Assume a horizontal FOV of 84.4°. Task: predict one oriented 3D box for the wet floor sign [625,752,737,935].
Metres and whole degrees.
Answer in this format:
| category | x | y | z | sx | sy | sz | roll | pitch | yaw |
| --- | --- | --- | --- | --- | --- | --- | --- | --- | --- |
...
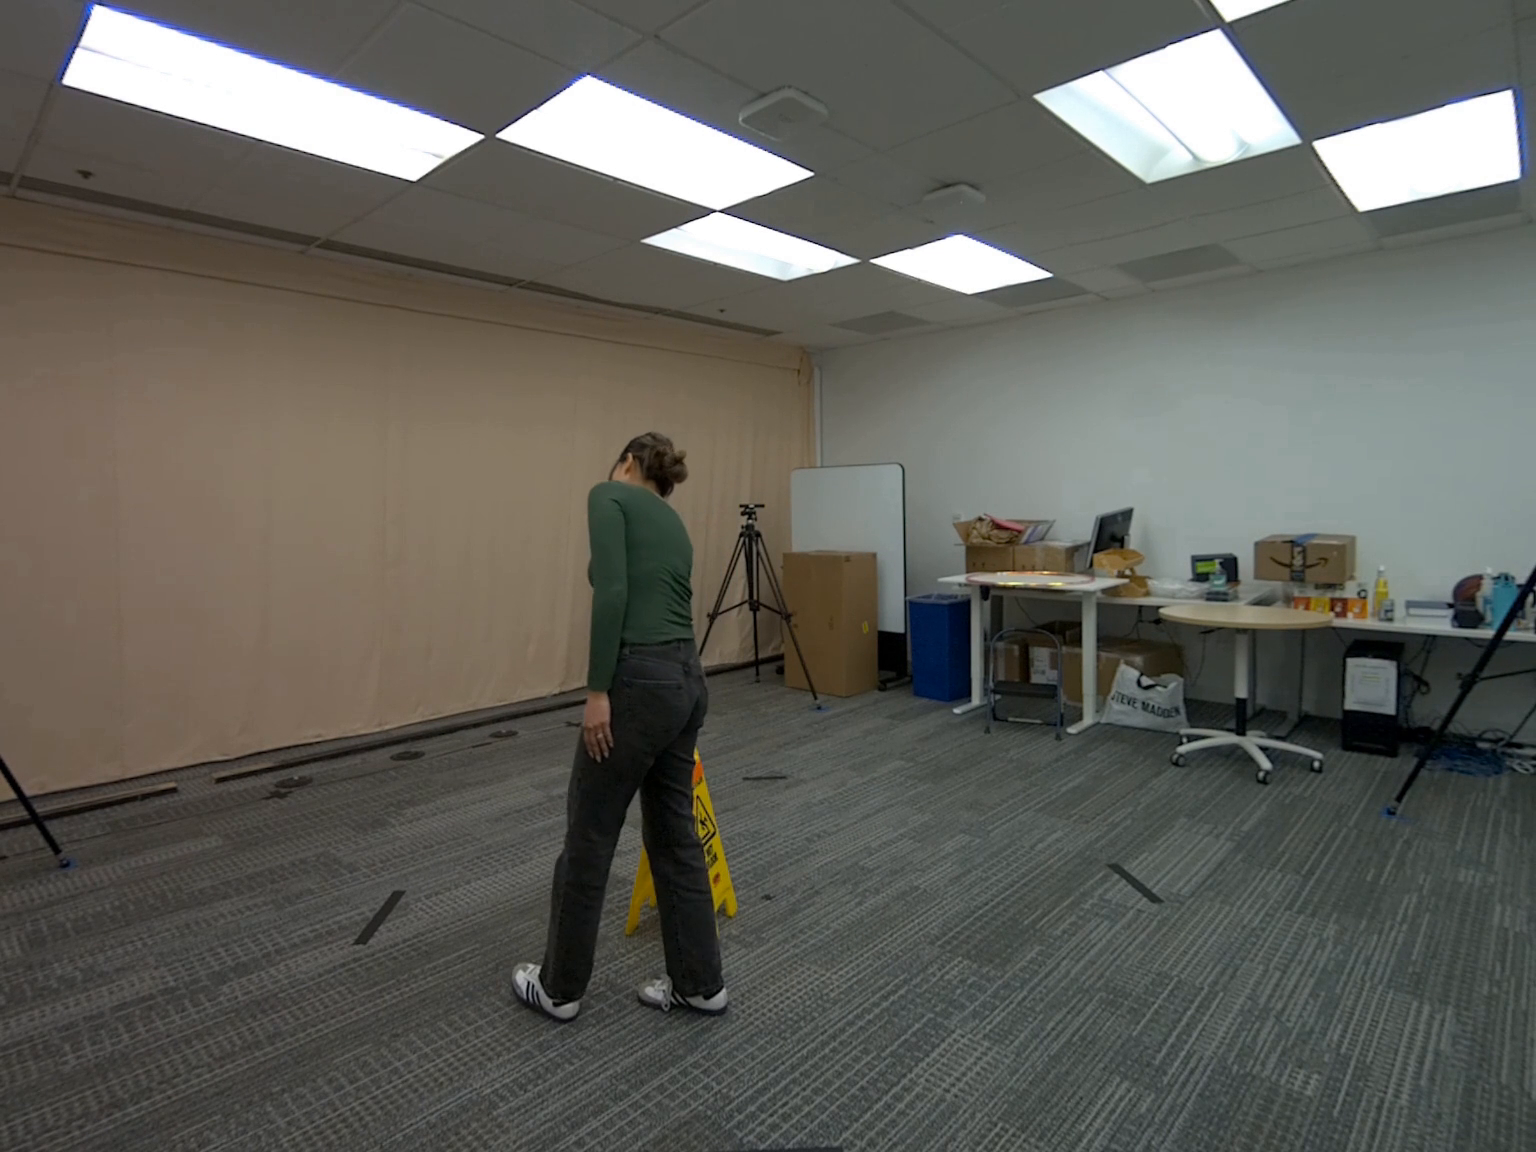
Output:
| category | x | y | z | sx | sy | sz | roll | pitch | yaw |
| --- | --- | --- | --- | --- | --- | --- | --- | --- | --- |
| wet floor sign | -0.289 | 0.840 | 2.803 | 0.295 | 0.644 | 0.277 | 1 | 4 | 18 |
